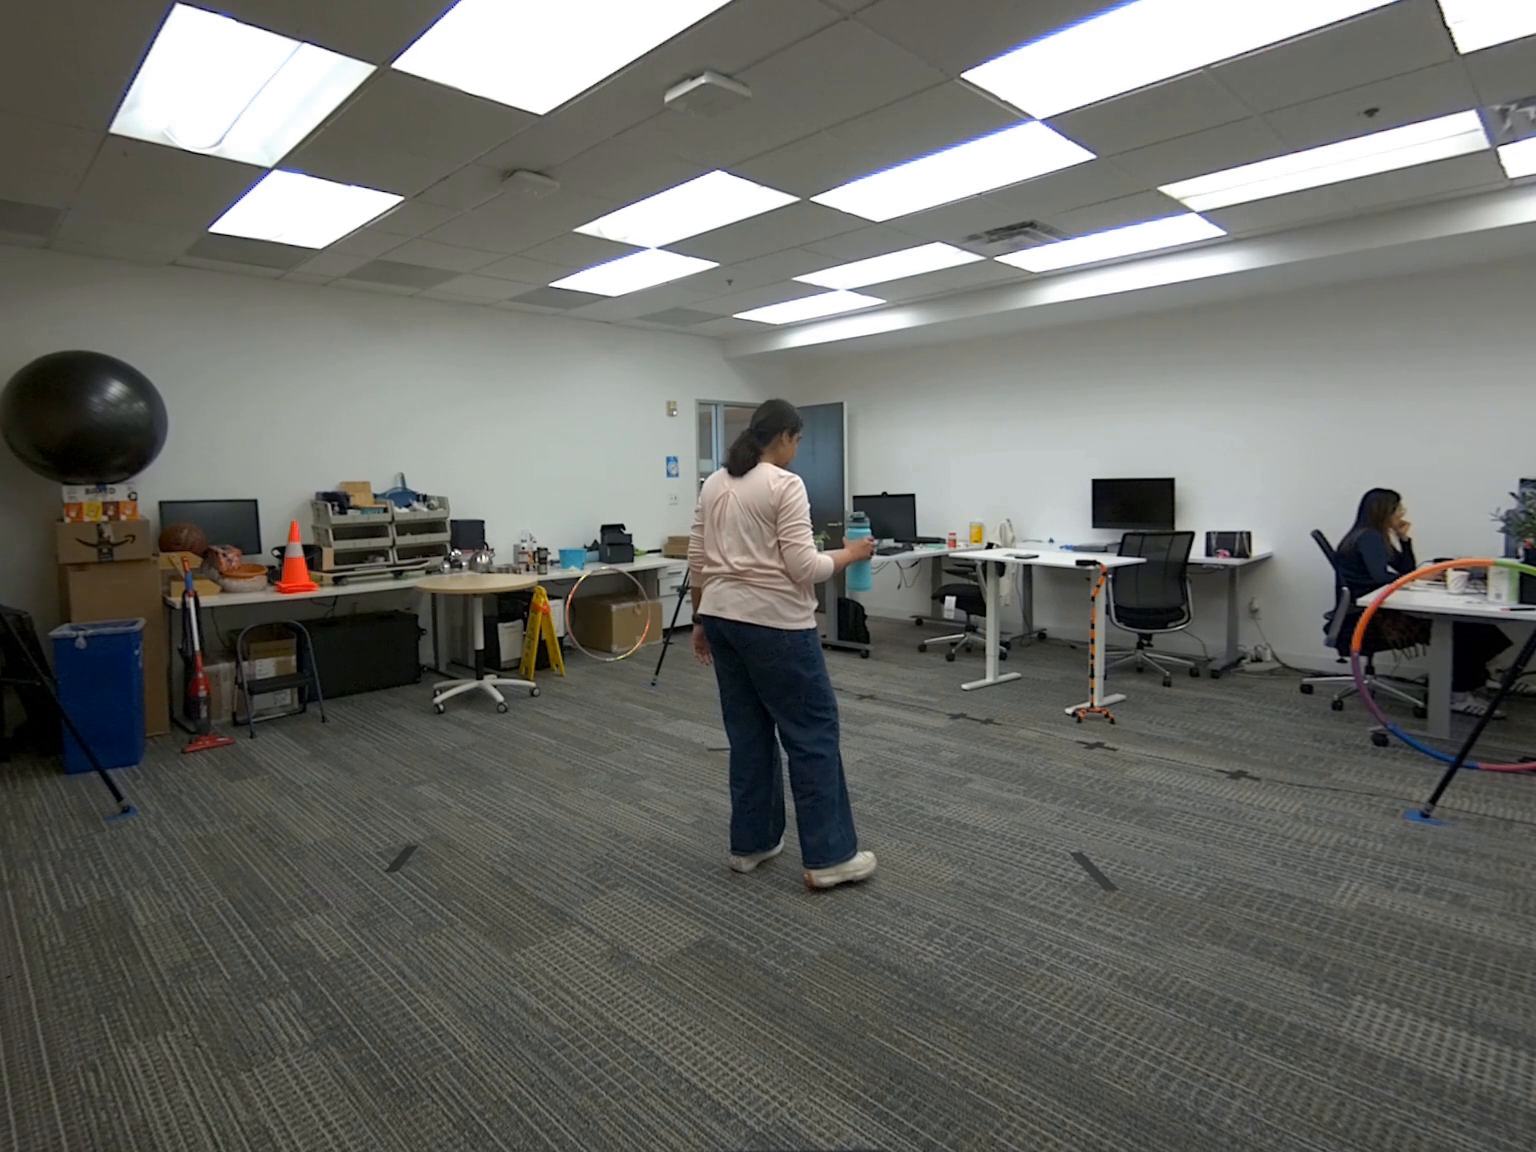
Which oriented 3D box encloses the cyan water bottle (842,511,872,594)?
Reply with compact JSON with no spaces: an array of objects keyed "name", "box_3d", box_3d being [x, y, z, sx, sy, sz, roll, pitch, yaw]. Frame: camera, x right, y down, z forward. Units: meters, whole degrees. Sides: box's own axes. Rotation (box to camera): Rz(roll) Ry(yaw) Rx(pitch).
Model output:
[{"name":"cyan water bottle","box_3d":[0.329,-0.092,3.108,0.092,0.283,0.092,1,1,-2]}]
